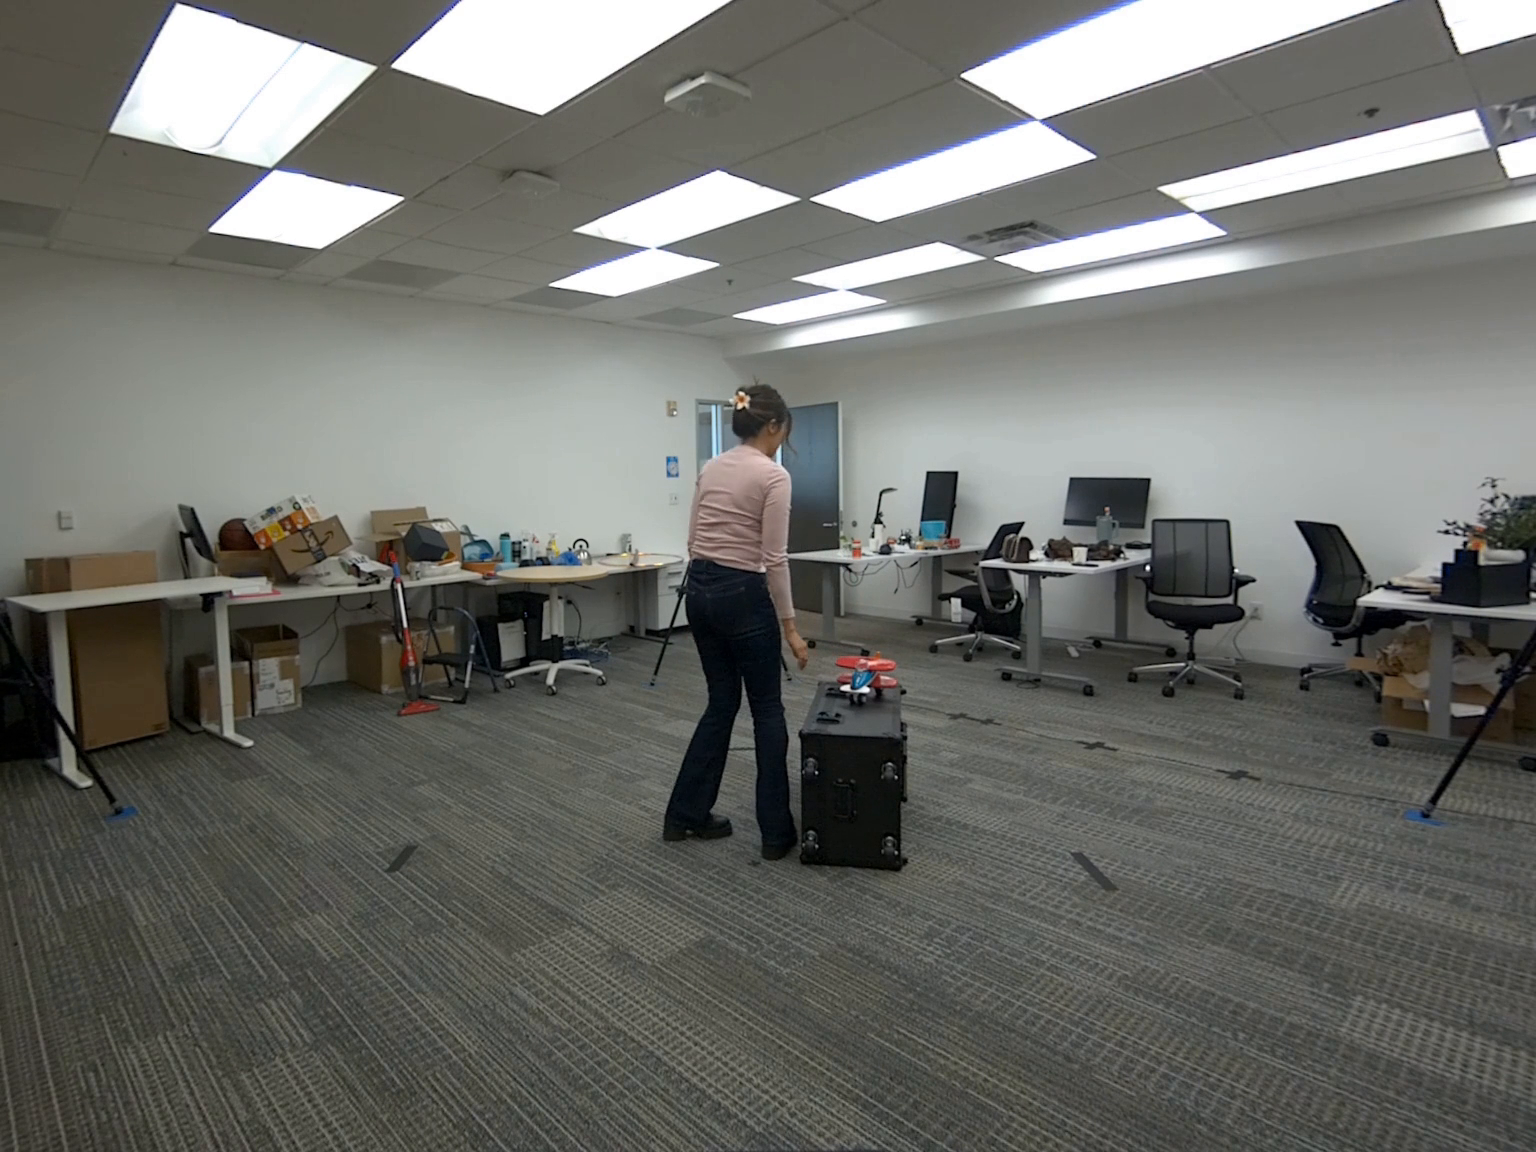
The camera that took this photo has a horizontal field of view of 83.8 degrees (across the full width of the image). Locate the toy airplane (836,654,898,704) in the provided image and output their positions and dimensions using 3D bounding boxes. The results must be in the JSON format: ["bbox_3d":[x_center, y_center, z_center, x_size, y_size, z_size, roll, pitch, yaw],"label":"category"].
[{"bbox_3d":[0.415,0.427,3.537,0.250,0.156,0.261,-1,5,-3],"label":"toy airplane"}]
